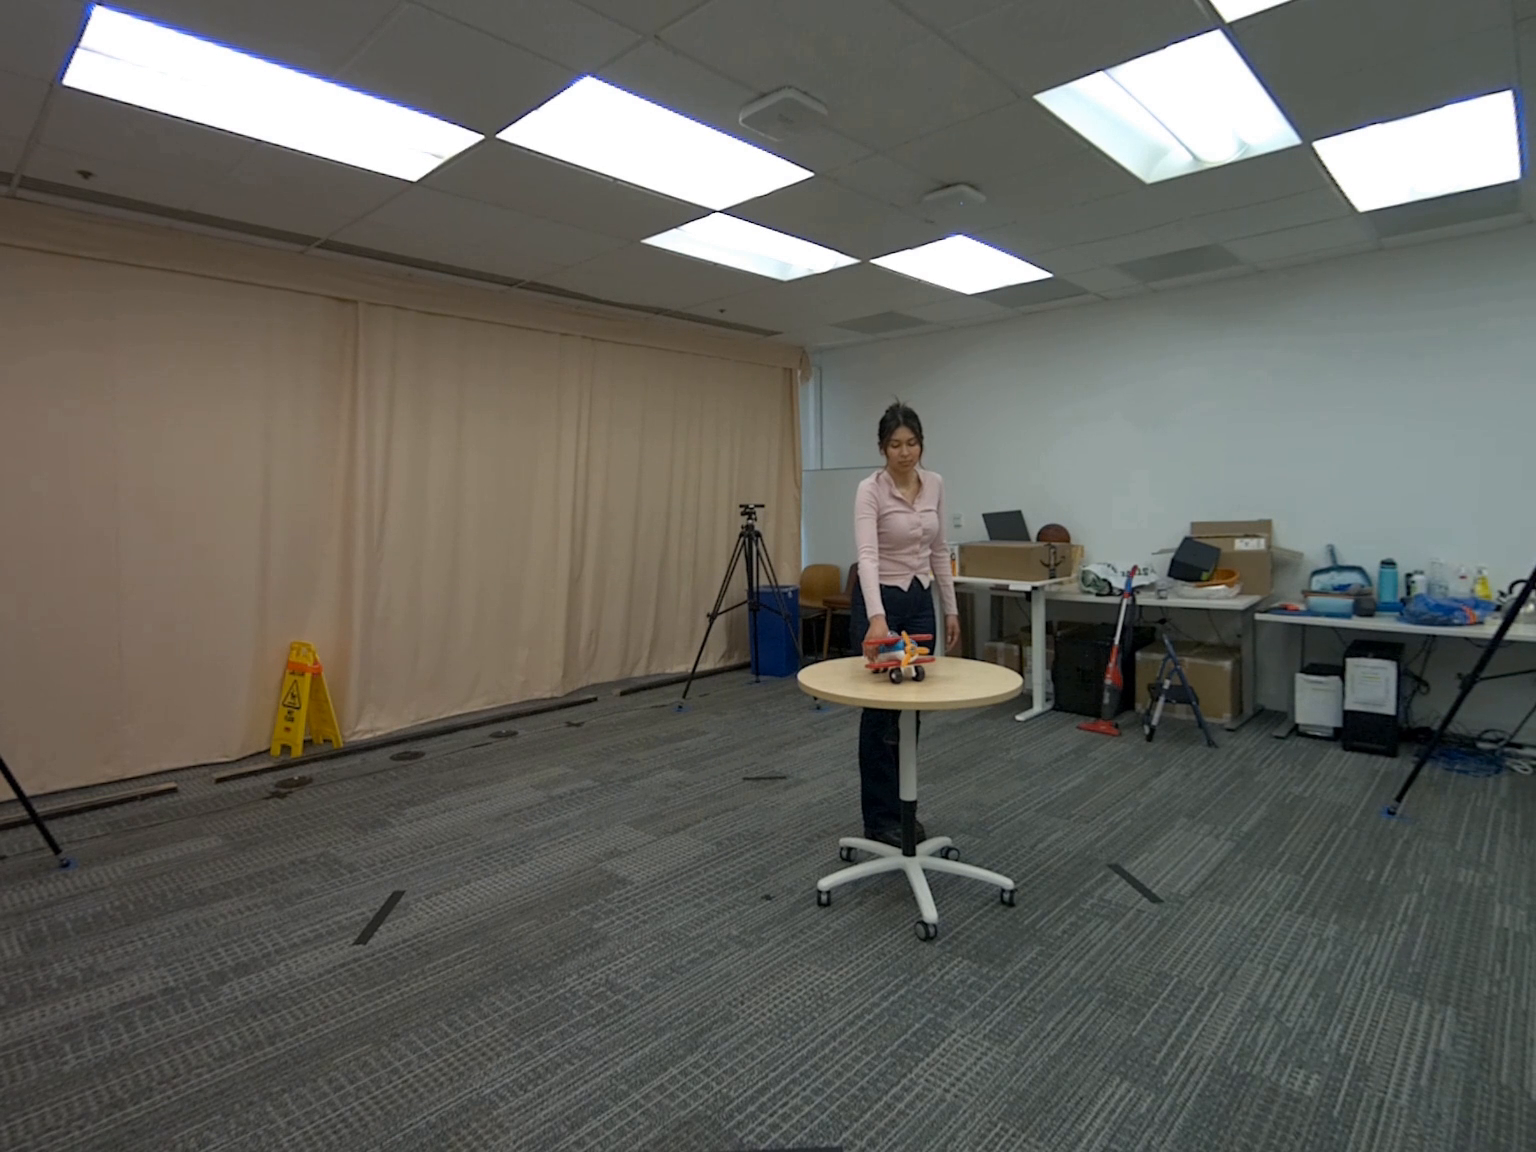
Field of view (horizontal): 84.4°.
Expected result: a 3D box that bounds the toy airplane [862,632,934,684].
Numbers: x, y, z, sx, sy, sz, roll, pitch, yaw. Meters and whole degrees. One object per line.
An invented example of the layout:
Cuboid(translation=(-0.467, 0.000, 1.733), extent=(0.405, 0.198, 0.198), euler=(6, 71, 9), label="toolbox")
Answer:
Cuboid(translation=(0.420, 0.278, 2.919), extent=(0.268, 0.156, 0.243), euler=(3, 6, 44), label="toy airplane")
